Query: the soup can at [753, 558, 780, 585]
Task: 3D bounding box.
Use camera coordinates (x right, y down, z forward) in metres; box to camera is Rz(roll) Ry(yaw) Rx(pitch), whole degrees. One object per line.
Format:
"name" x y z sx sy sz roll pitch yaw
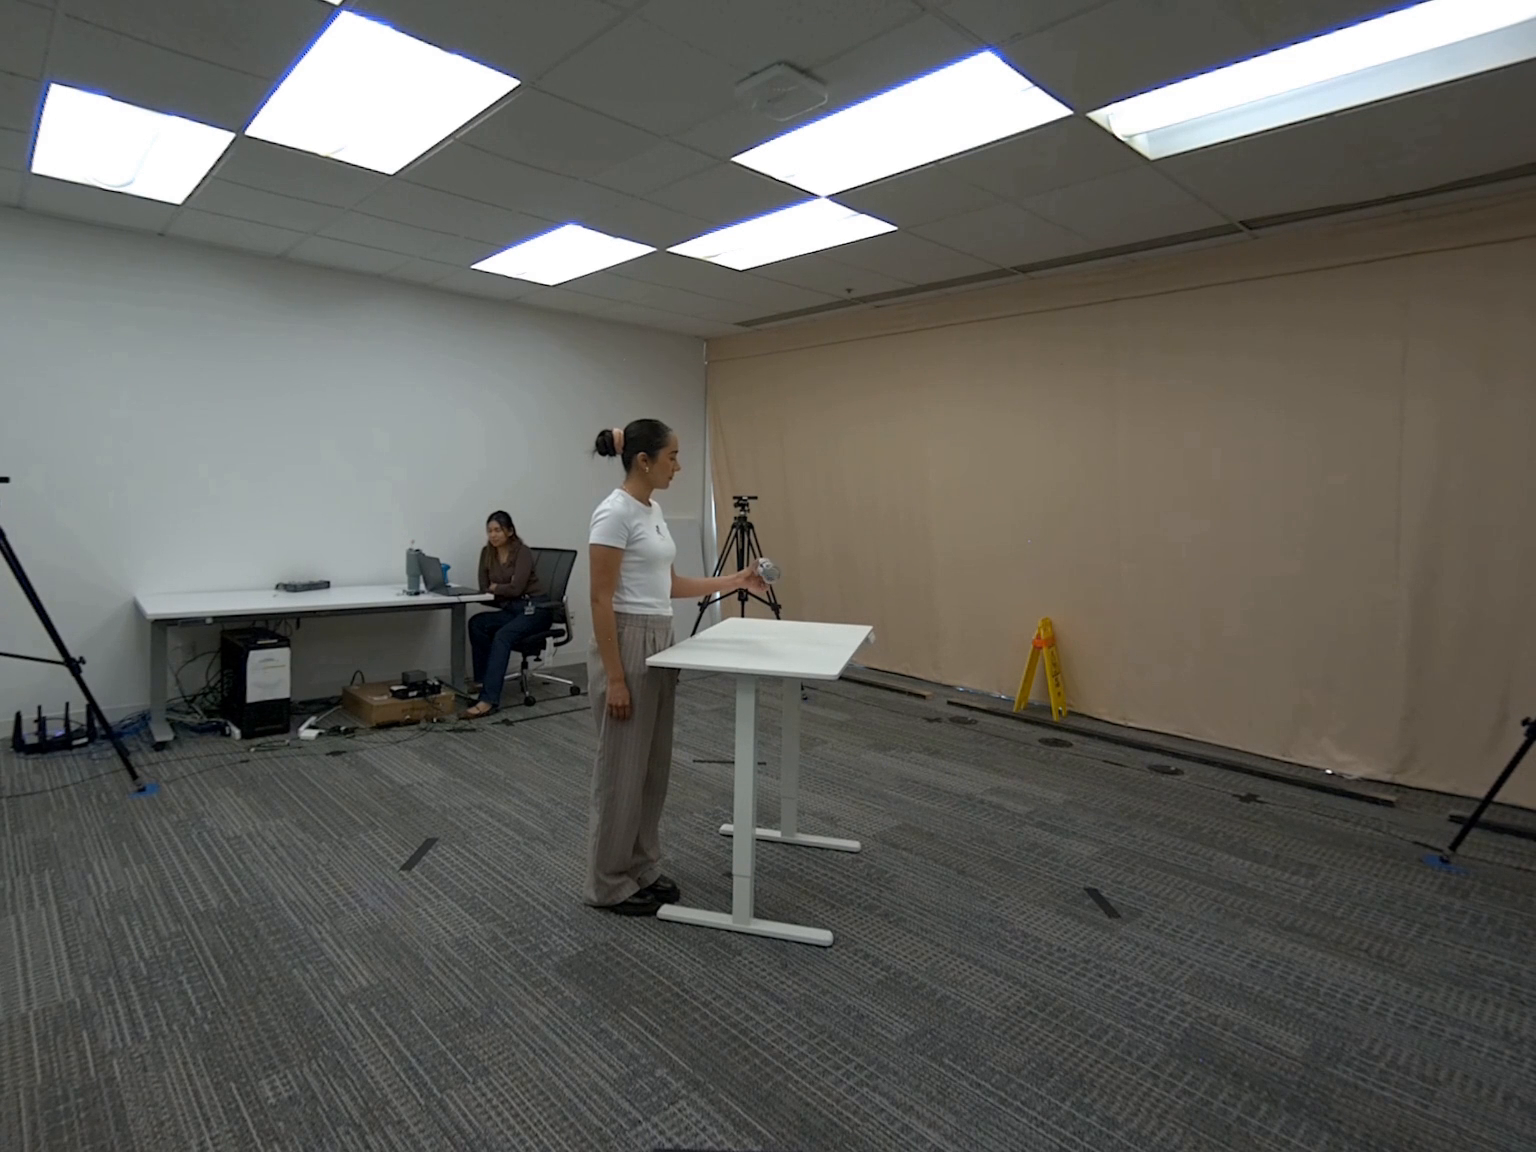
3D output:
"soup can" -0.011 -0.027 3.000 0.066 0.066 0.124 0 15 -17
